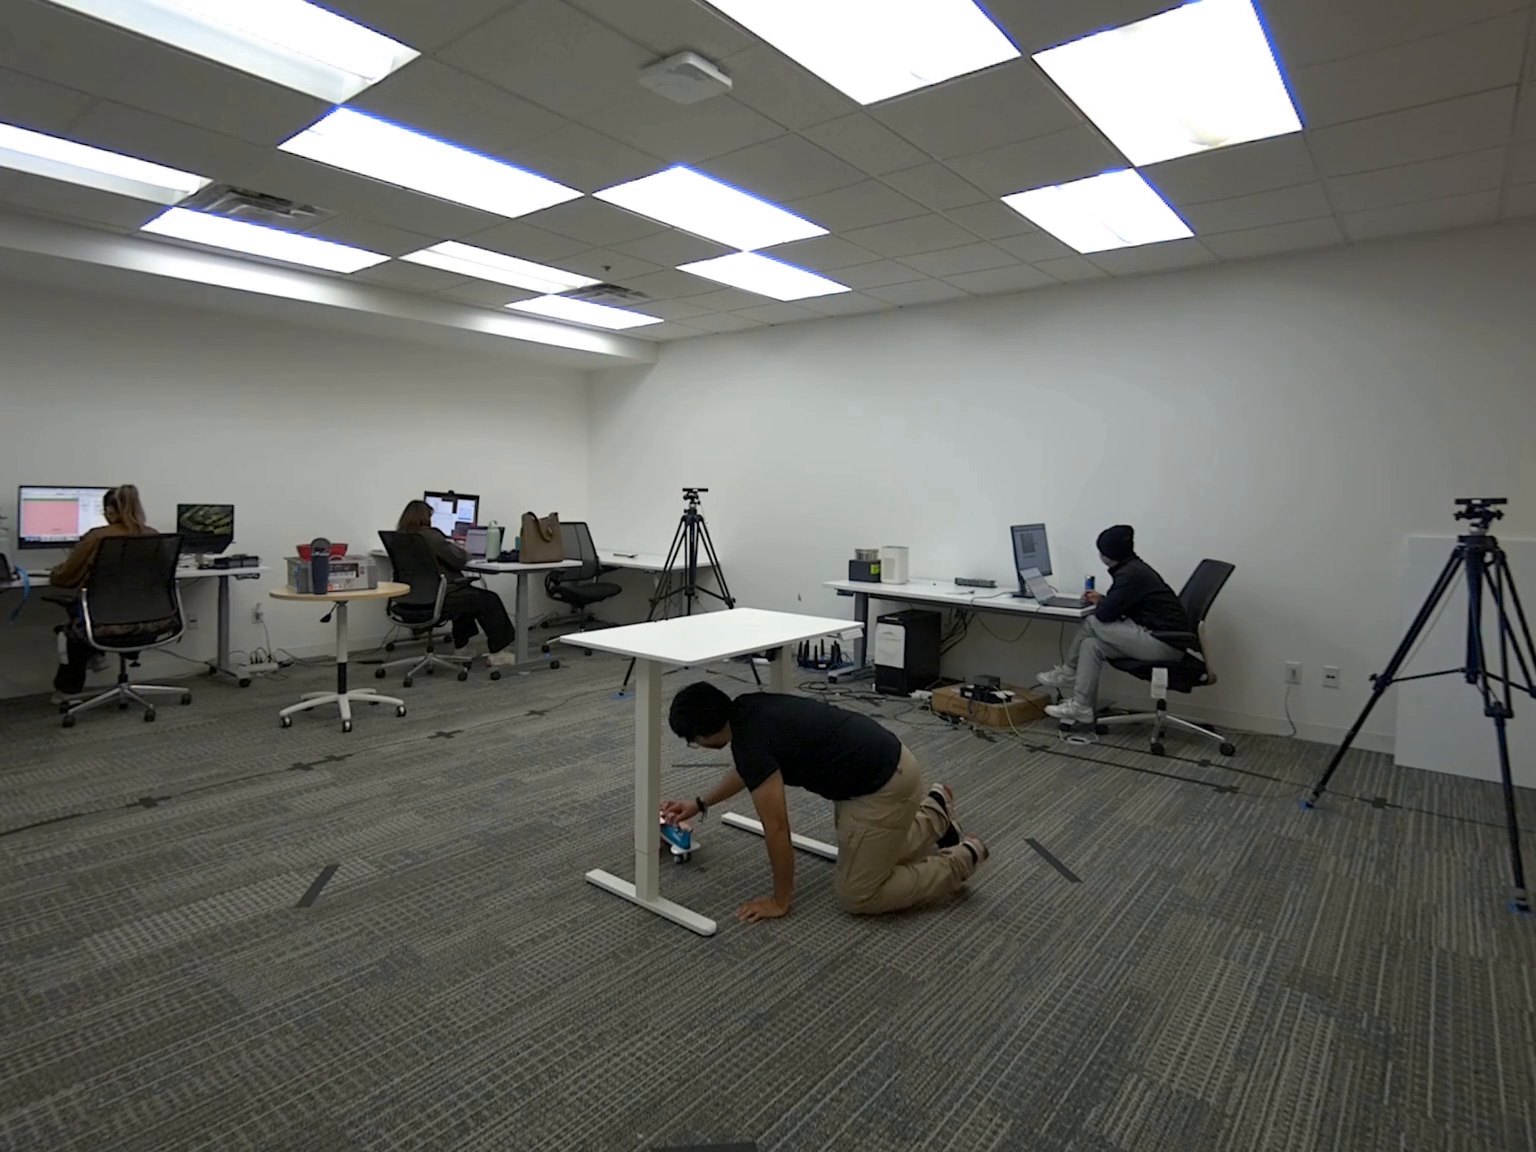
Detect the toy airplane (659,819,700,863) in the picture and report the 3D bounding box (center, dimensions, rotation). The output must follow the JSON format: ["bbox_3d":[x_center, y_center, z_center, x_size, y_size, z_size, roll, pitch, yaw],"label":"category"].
[{"bbox_3d":[-0.374,0.978,3.256,0.266,0.156,0.245,2,5,25],"label":"toy airplane"}]
